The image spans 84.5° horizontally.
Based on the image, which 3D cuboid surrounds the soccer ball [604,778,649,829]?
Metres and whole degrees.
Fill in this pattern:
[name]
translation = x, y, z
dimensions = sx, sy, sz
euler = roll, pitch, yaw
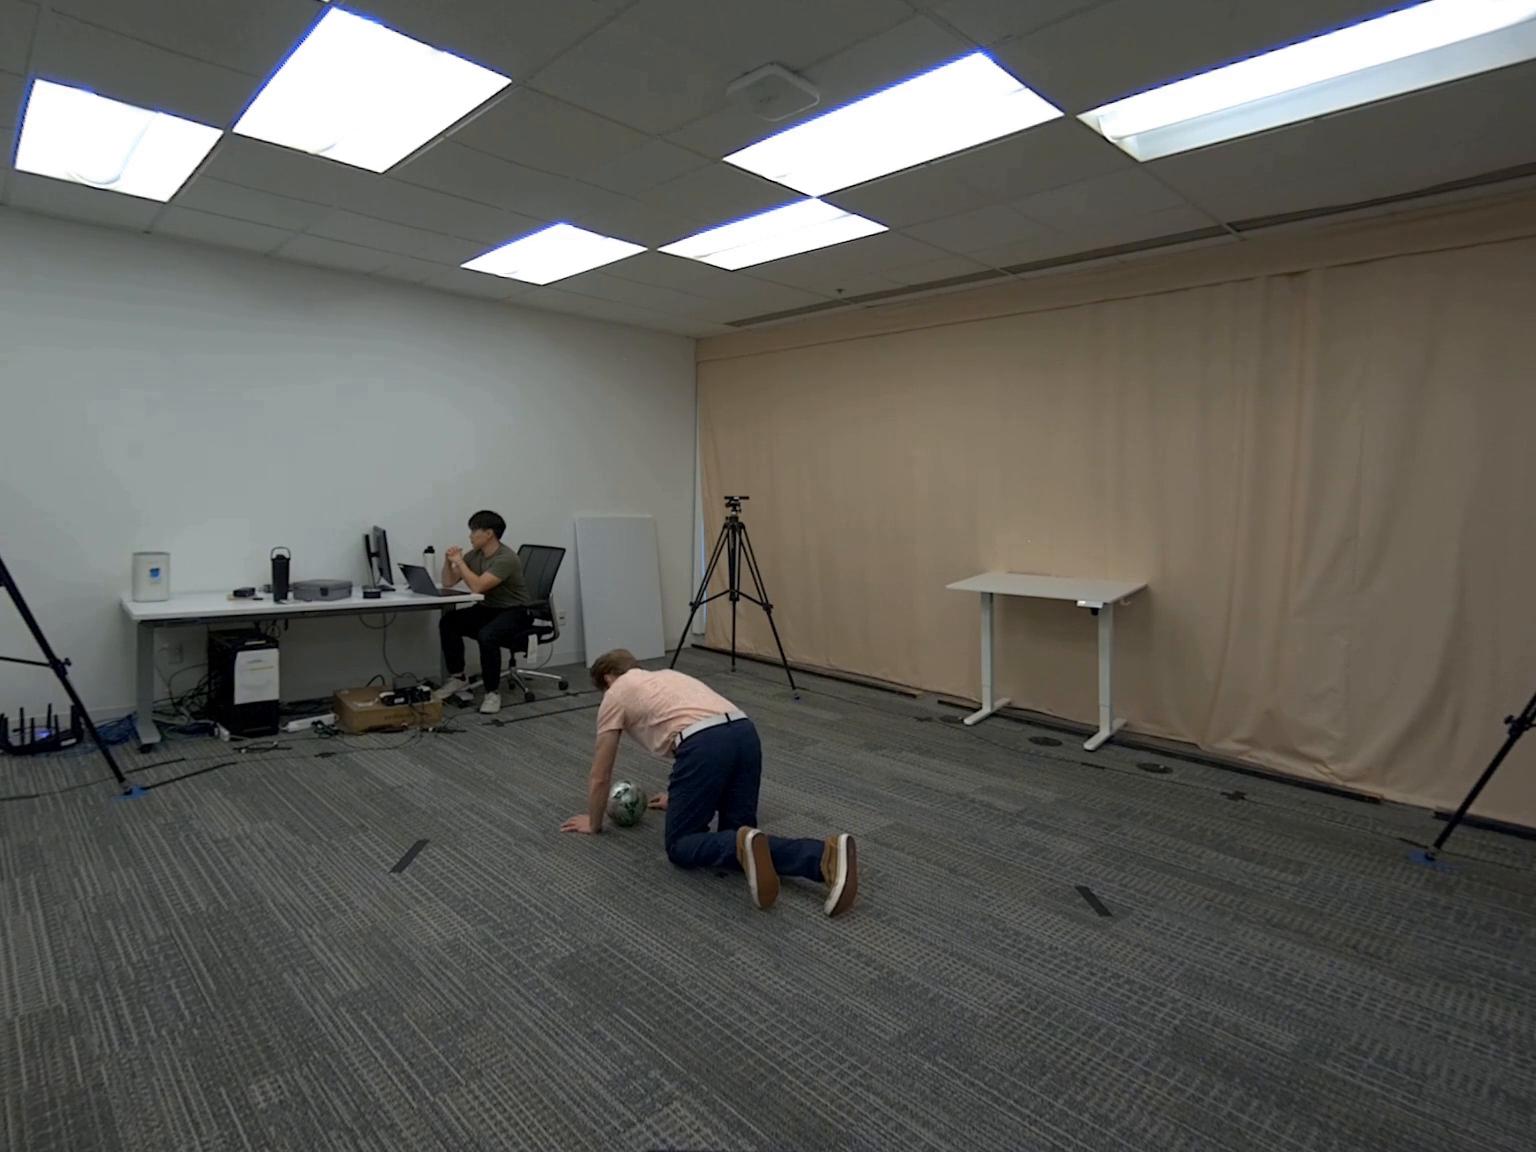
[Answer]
[soccer ball]
translation = -0.611, 0.962, 3.568
dimensions = 0.187, 0.187, 0.188
euler = 1, 4, -1
